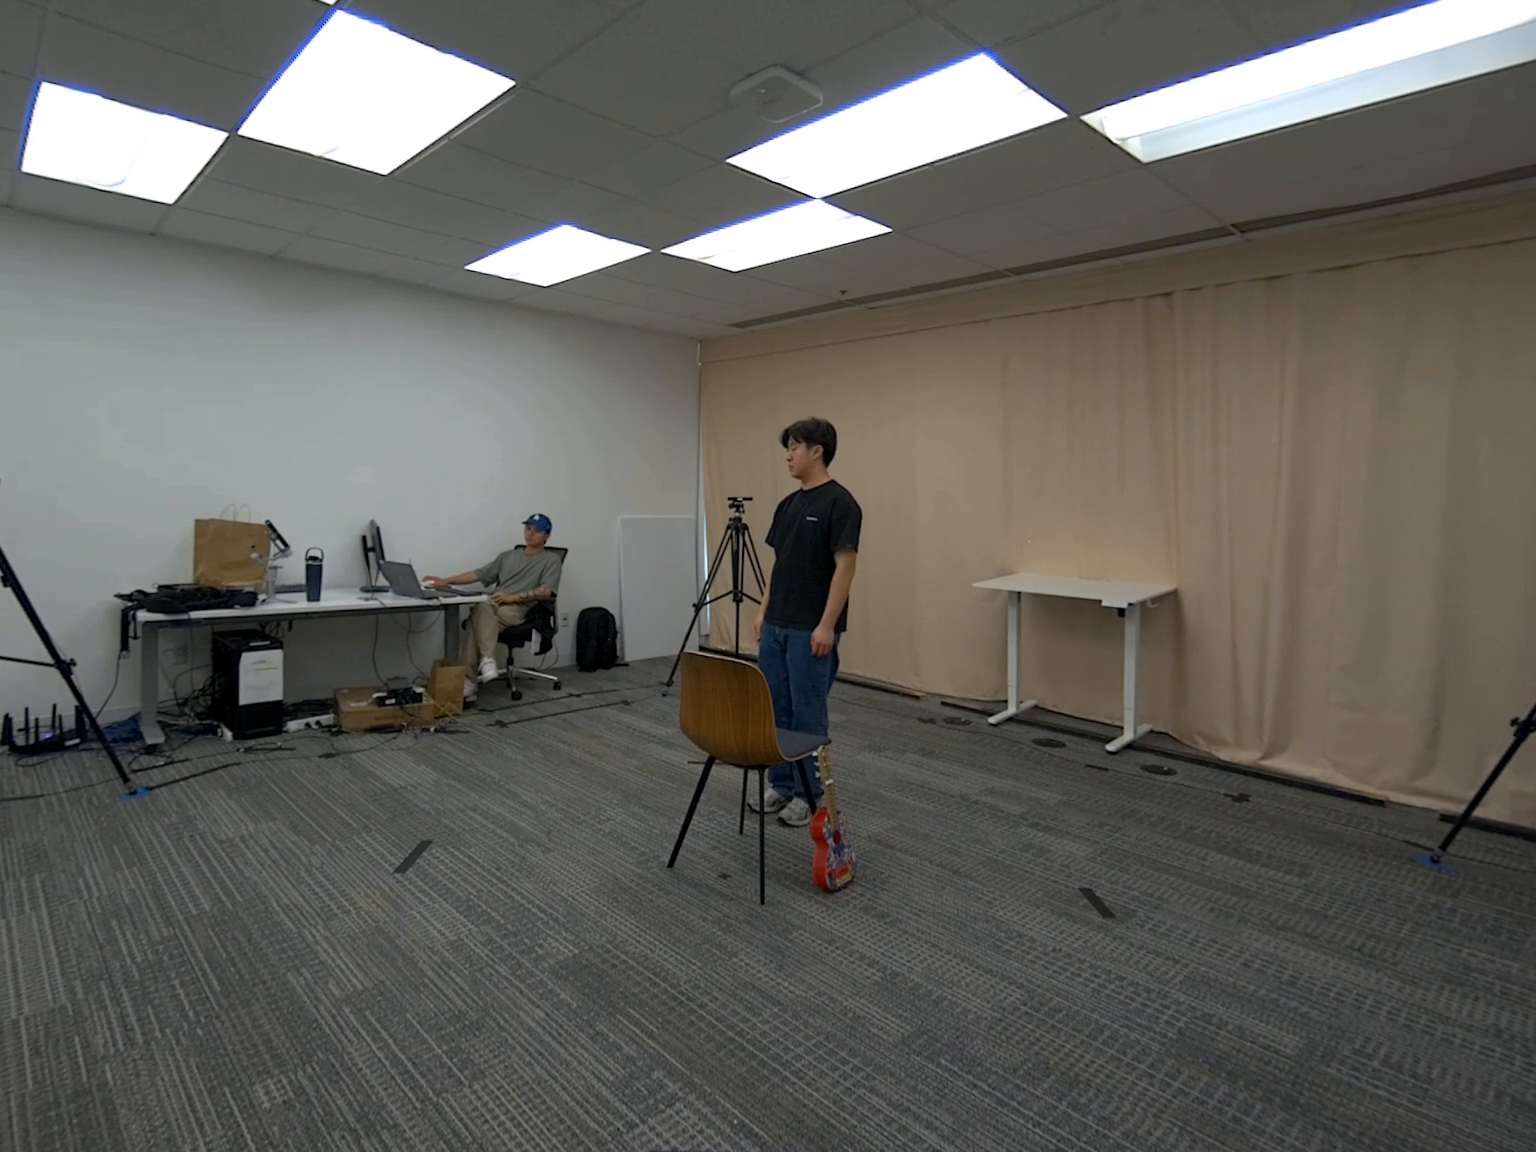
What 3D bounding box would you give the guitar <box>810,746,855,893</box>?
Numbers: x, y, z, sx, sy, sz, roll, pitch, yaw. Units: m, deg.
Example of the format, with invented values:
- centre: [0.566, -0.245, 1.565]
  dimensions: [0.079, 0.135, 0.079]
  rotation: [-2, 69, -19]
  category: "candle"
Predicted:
- centre: [0.226, 0.877, 3.069]
  dimensions: [0.072, 0.502, 0.188]
  rotation: [-14, -15, 43]
  category: "guitar"
